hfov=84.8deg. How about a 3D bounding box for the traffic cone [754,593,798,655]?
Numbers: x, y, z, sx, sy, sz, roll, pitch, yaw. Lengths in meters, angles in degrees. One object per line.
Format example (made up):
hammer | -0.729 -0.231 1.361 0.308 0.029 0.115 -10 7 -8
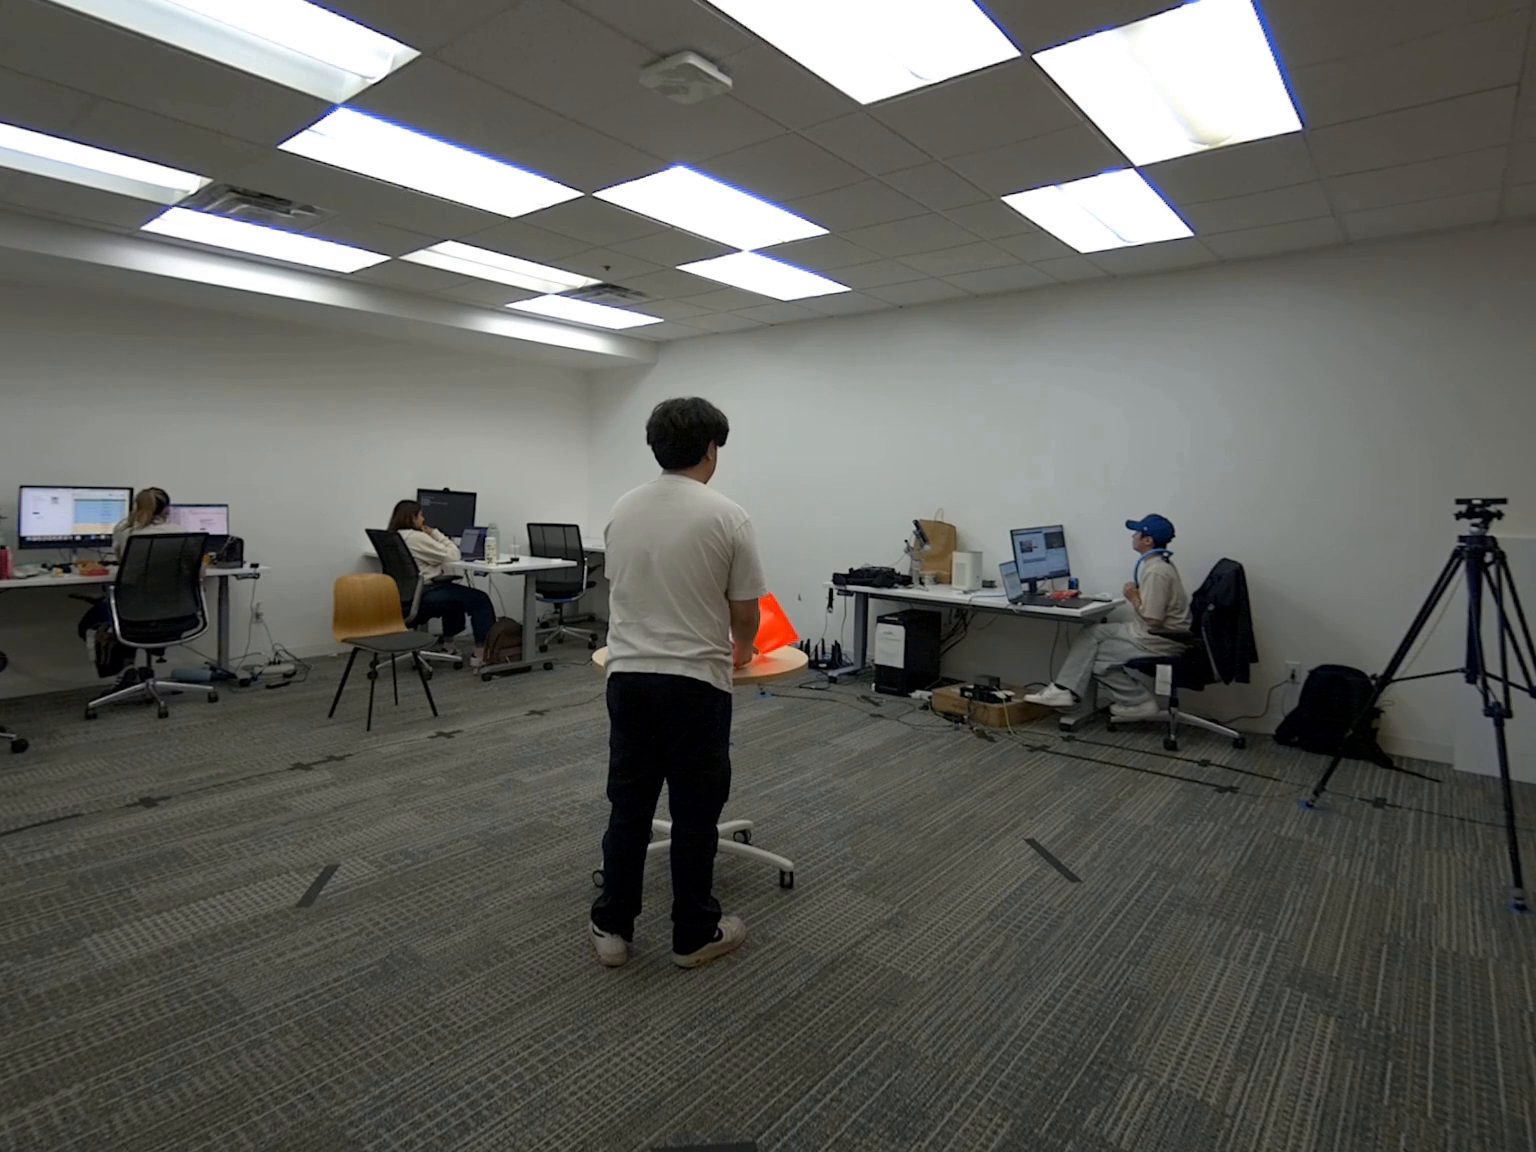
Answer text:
traffic cone | -0.112 0.235 2.843 0.206 0.205 0.379 -29 3 40
